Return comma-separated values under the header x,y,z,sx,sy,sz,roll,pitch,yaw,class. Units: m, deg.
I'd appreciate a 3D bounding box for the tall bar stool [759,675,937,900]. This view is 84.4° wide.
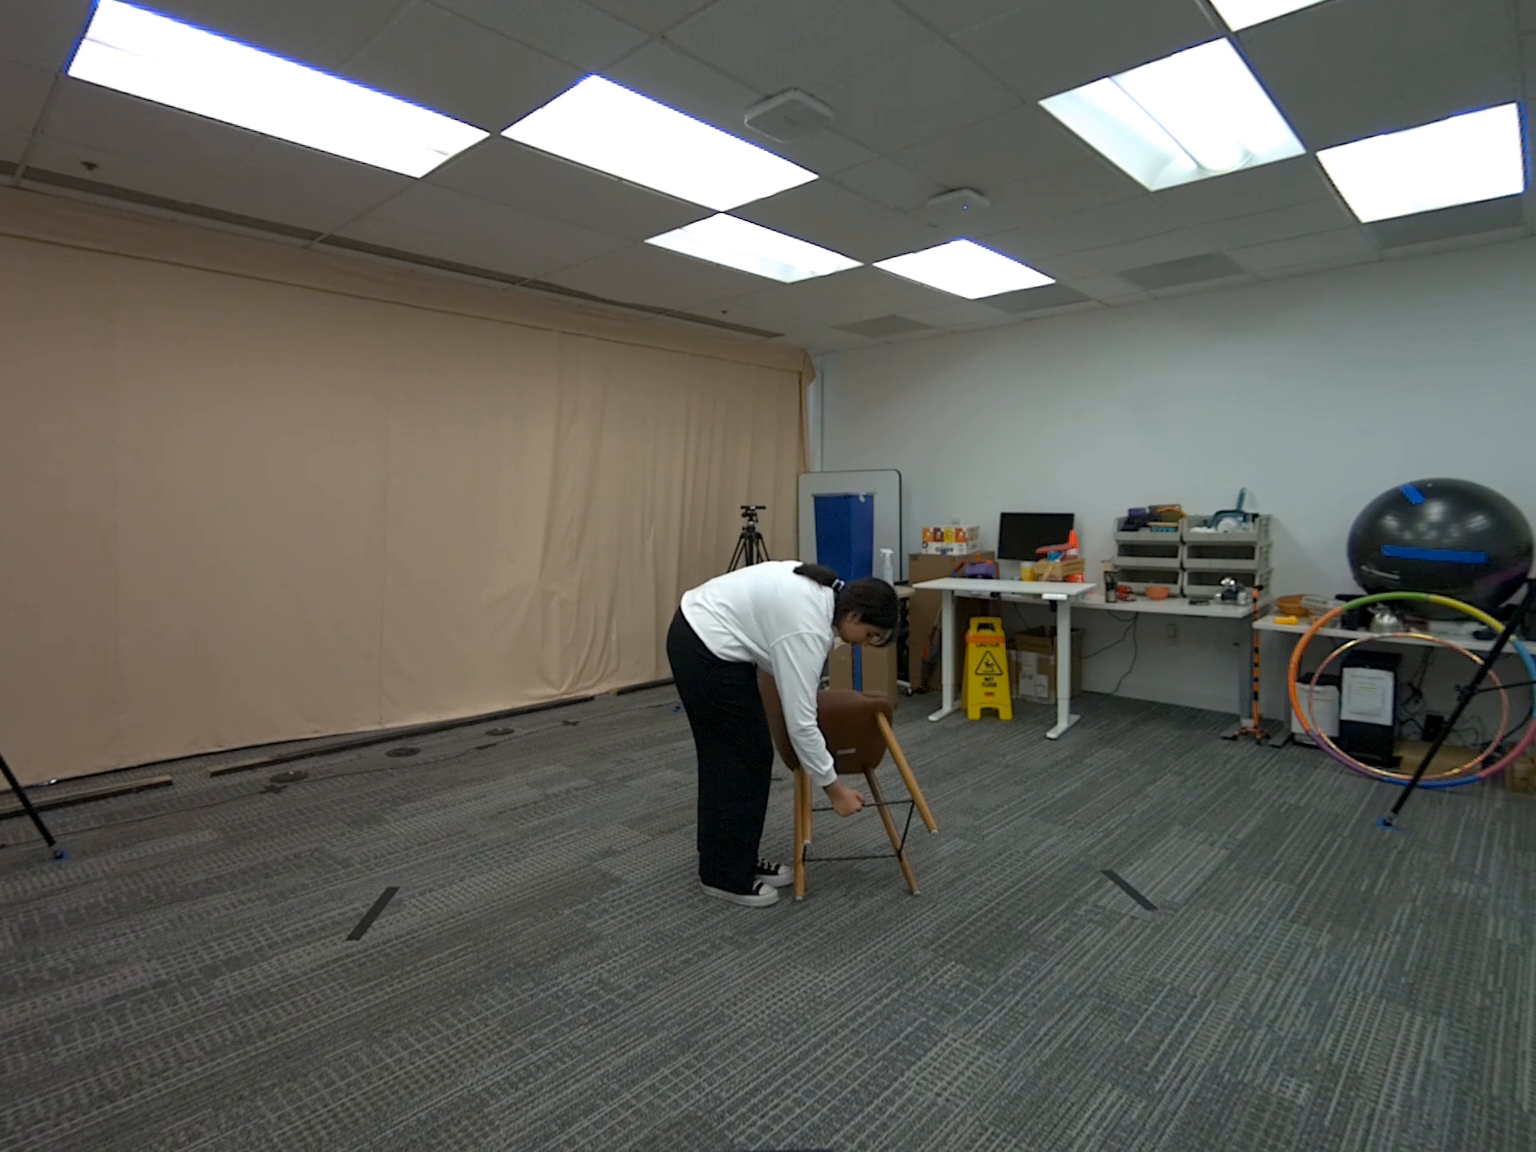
x,y,z,sx,sy,sz,roll,pitch,yaw,class
0.270,0.713,3.200,0.465,0.448,0.912,-6,40,-7,tall bar stool
